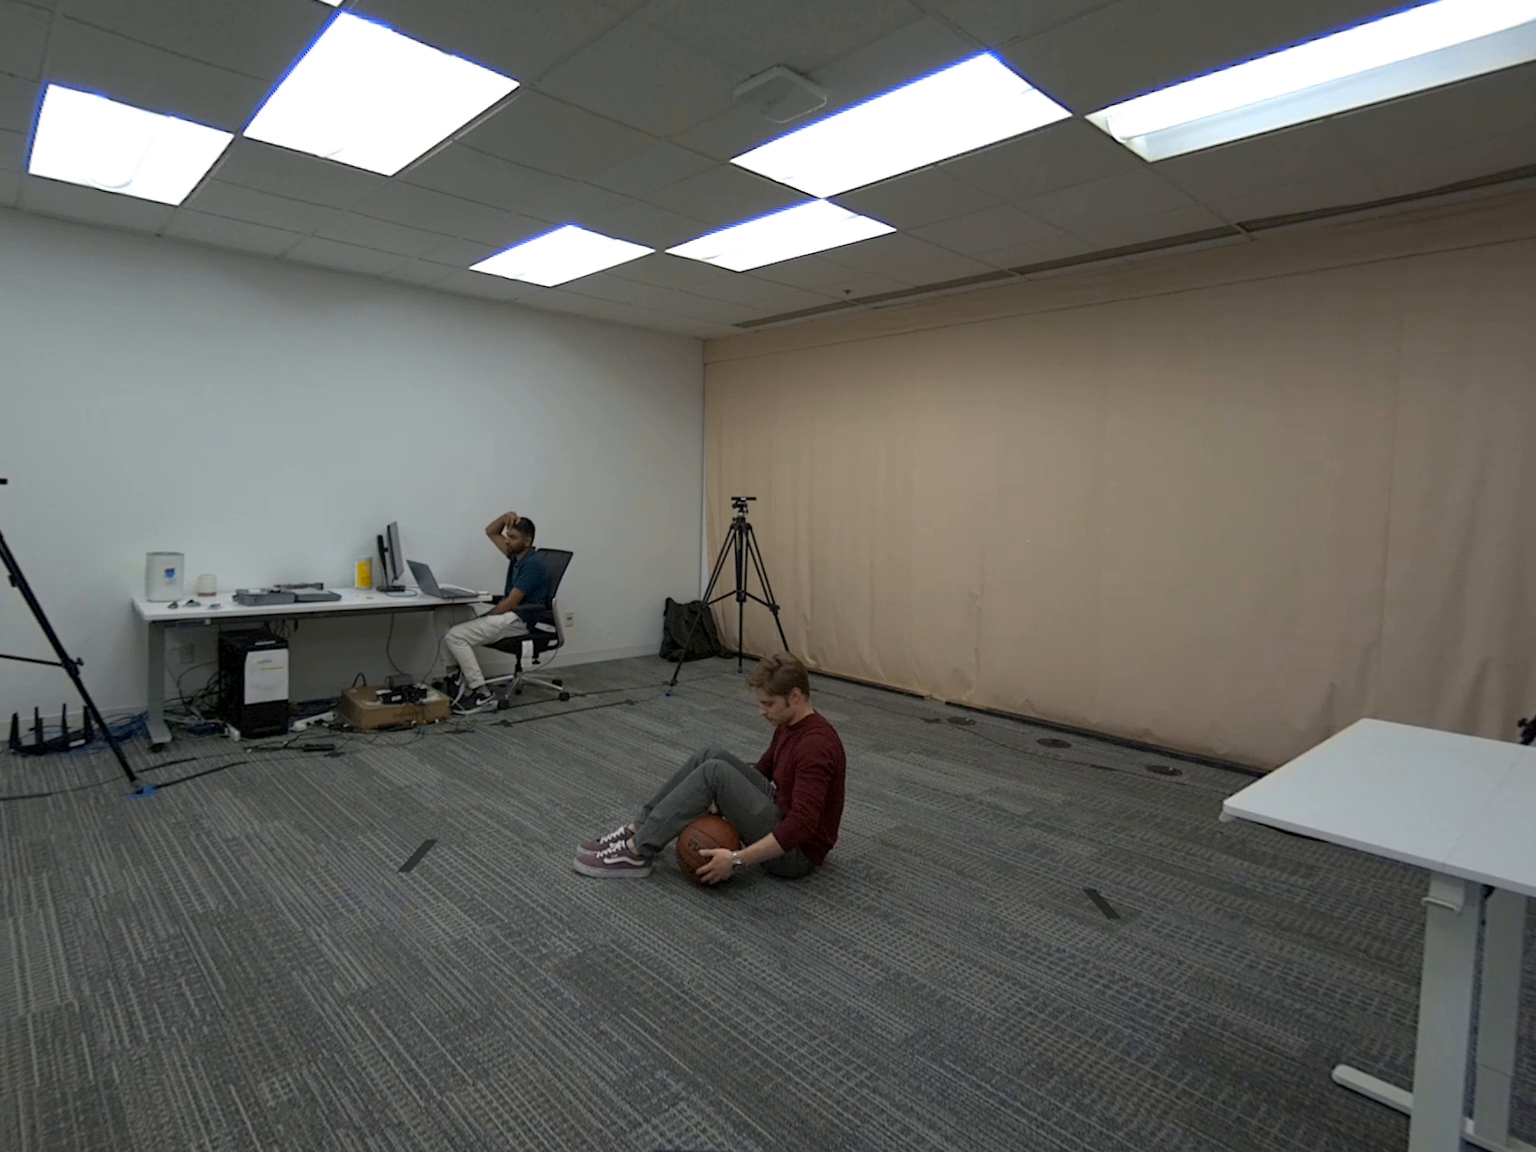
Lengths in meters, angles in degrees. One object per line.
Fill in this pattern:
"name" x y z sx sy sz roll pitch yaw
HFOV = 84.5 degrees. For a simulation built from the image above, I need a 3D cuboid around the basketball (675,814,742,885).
"basketball" -0.217 0.994 3.040 0.236 0.235 0.237 1 4 -1
